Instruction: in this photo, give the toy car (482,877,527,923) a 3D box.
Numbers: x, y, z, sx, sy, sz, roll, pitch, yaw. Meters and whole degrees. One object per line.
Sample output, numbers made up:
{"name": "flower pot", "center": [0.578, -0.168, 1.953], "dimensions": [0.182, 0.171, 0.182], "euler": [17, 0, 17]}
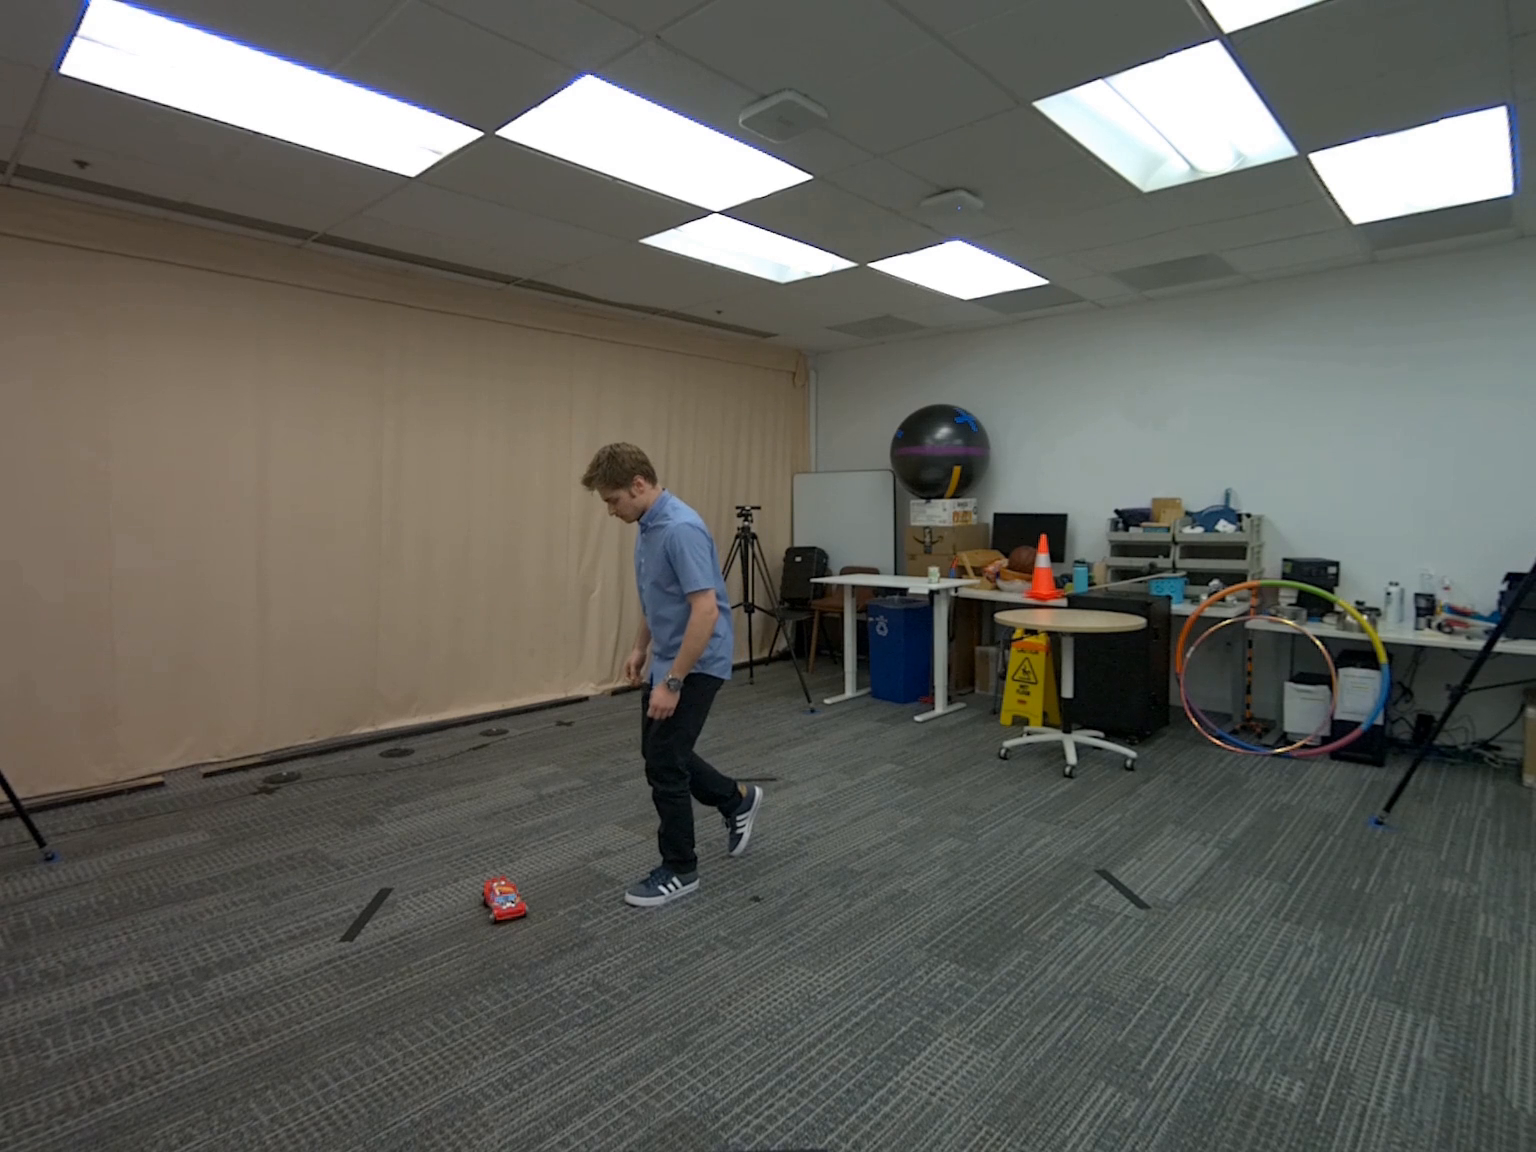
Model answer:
{"name": "toy car", "center": [-0.924, 1.128, 2.922], "dimensions": [0.127, 0.082, 0.263], "euler": [-3, 14, -29]}
